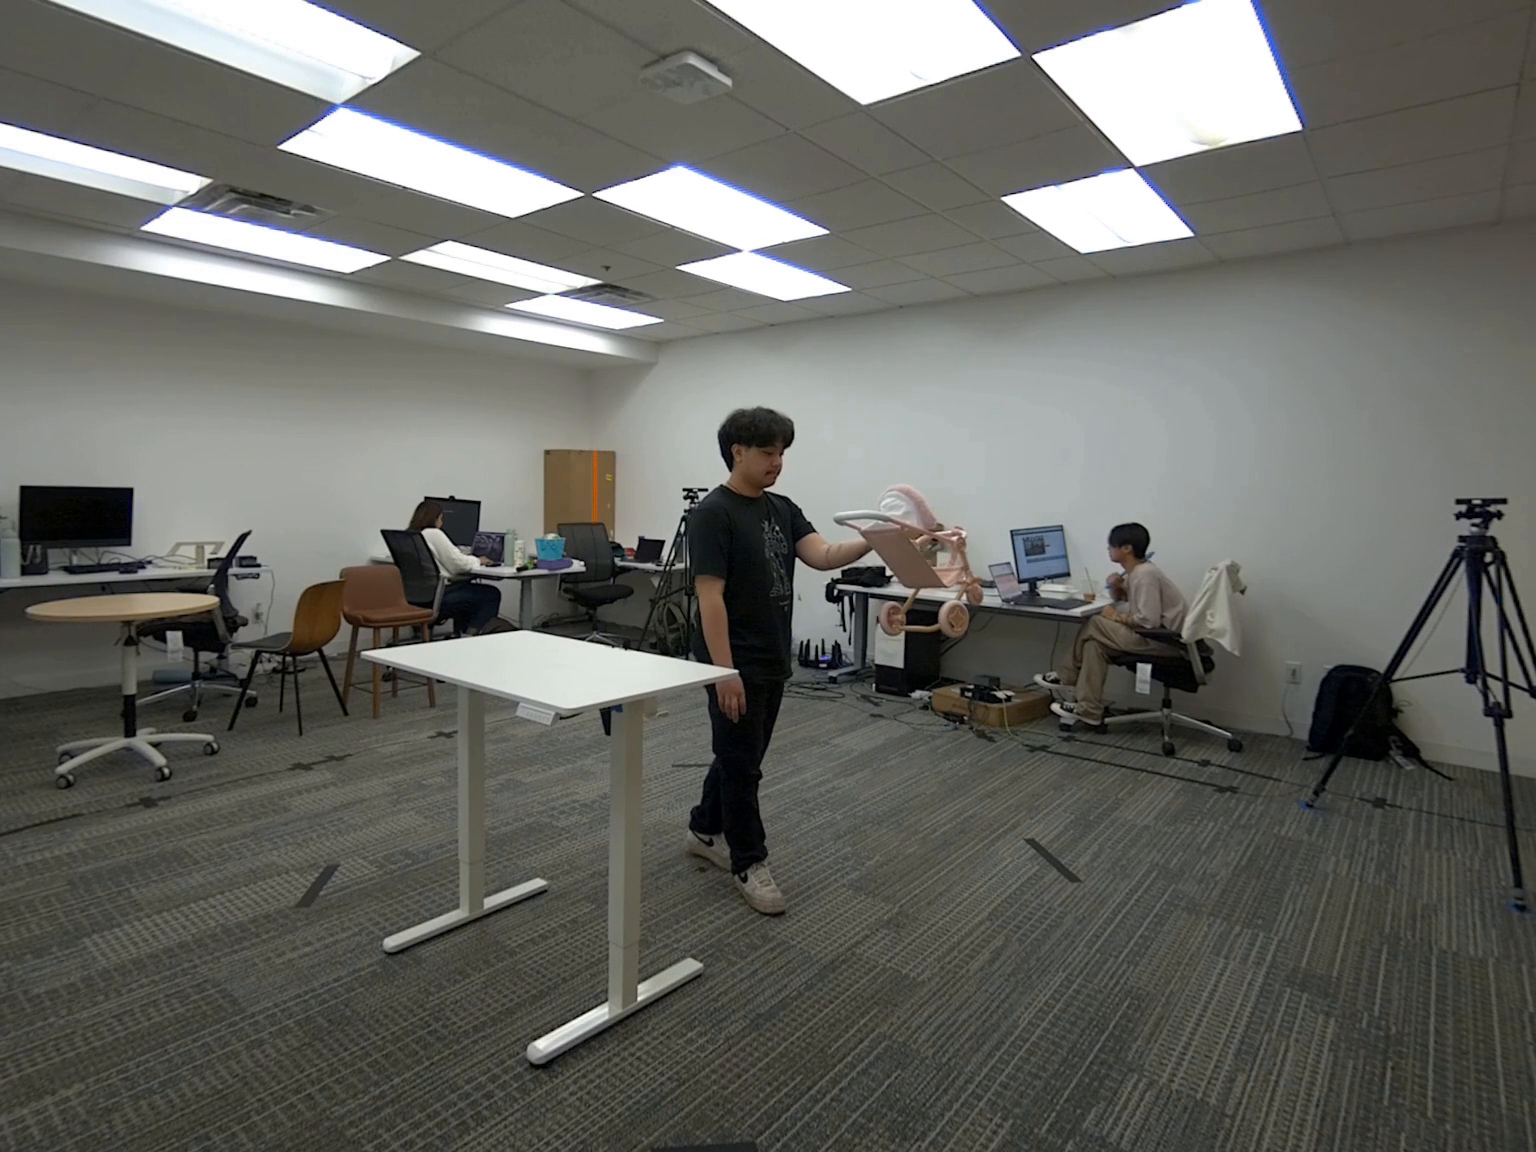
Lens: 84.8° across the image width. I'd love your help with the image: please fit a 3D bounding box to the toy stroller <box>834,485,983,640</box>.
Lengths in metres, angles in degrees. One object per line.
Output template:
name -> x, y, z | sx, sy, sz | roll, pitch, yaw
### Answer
toy stroller -> 0.460, -0.056, 2.619 | 0.339, 0.525, 0.289 | -37, 16, -26
